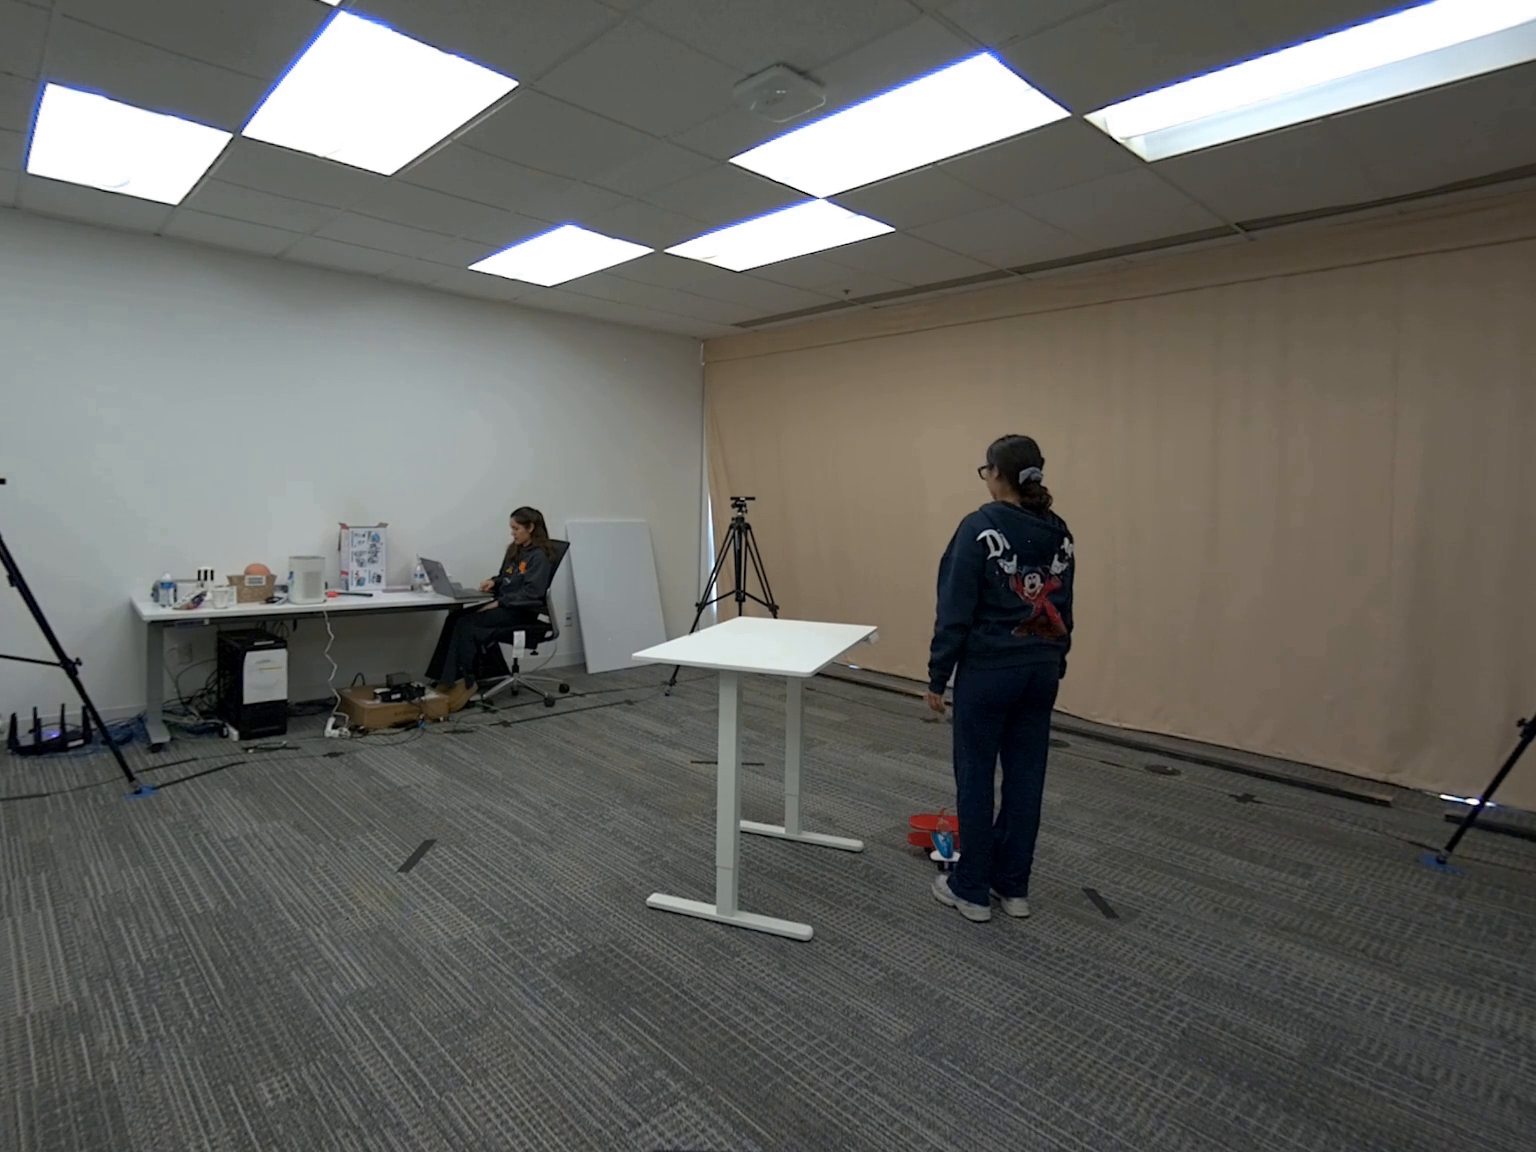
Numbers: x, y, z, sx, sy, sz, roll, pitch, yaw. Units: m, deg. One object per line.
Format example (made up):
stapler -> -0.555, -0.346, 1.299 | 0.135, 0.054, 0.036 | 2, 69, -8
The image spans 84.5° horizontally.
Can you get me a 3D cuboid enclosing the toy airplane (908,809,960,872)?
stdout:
toy airplane -> 0.699, 1.041, 3.293 | 0.246, 0.155, 0.265 | -6, 10, -30
